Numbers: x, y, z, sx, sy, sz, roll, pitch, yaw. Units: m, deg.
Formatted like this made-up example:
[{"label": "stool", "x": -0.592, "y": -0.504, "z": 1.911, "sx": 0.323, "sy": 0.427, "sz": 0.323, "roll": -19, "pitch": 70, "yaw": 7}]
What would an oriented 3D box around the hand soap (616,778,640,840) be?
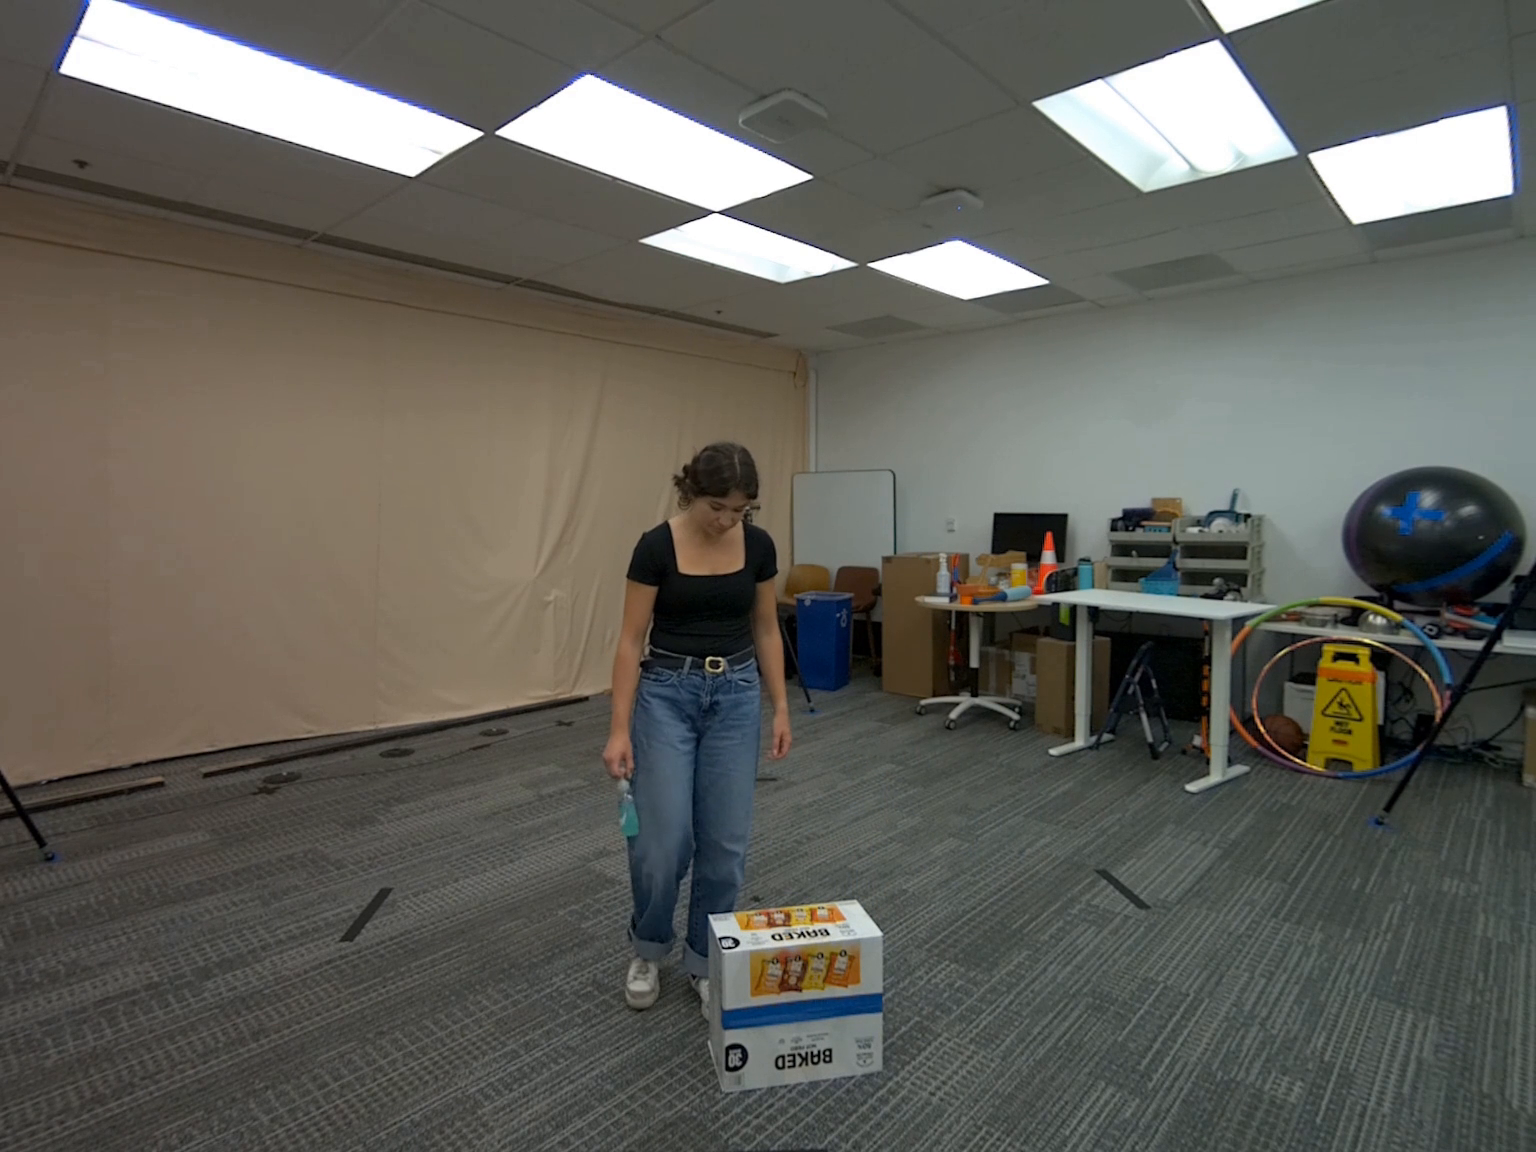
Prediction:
[{"label": "hand soap", "x": -0.358, "y": 0.577, "z": 2.164, "sx": 0.042, "sy": 0.169, "sz": 0.085, "roll": -6, "pitch": -7, "yaw": -20}]
